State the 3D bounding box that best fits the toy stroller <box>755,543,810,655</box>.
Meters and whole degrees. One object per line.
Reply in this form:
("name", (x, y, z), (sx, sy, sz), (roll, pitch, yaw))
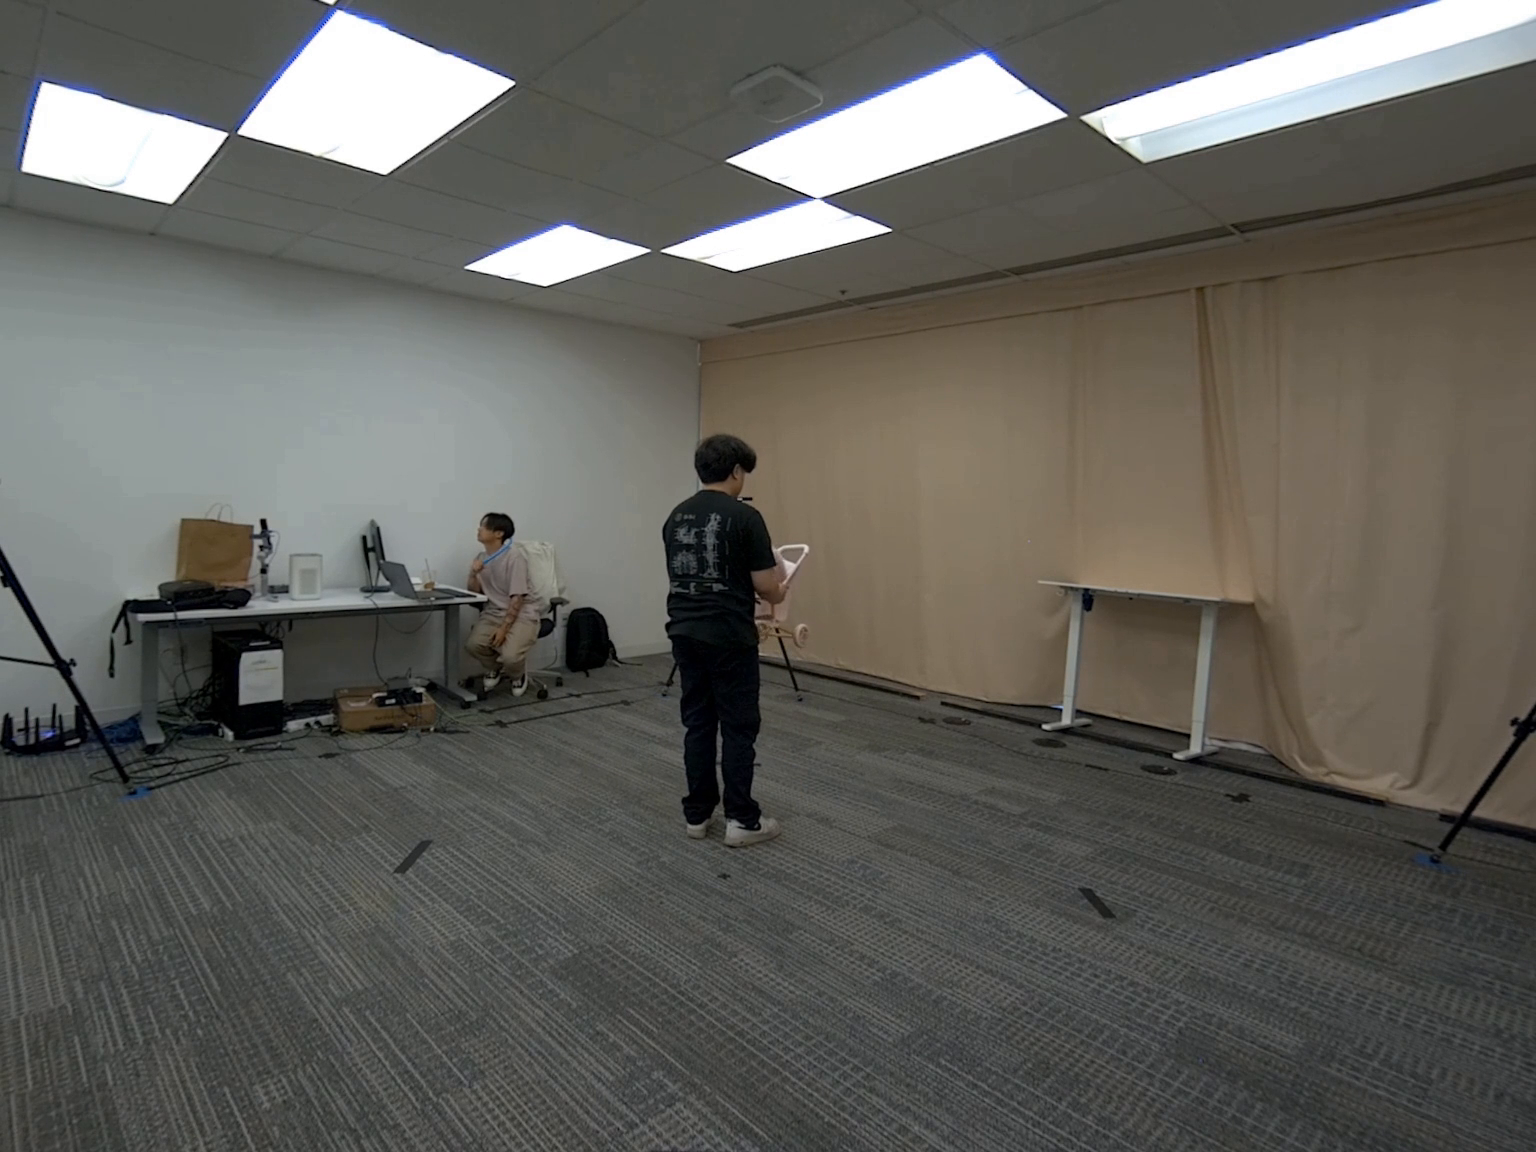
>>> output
("toy stroller", (-0.008, 0.107, 3.808), (0.332, 0.537, 0.288), (9, -7, -43))
